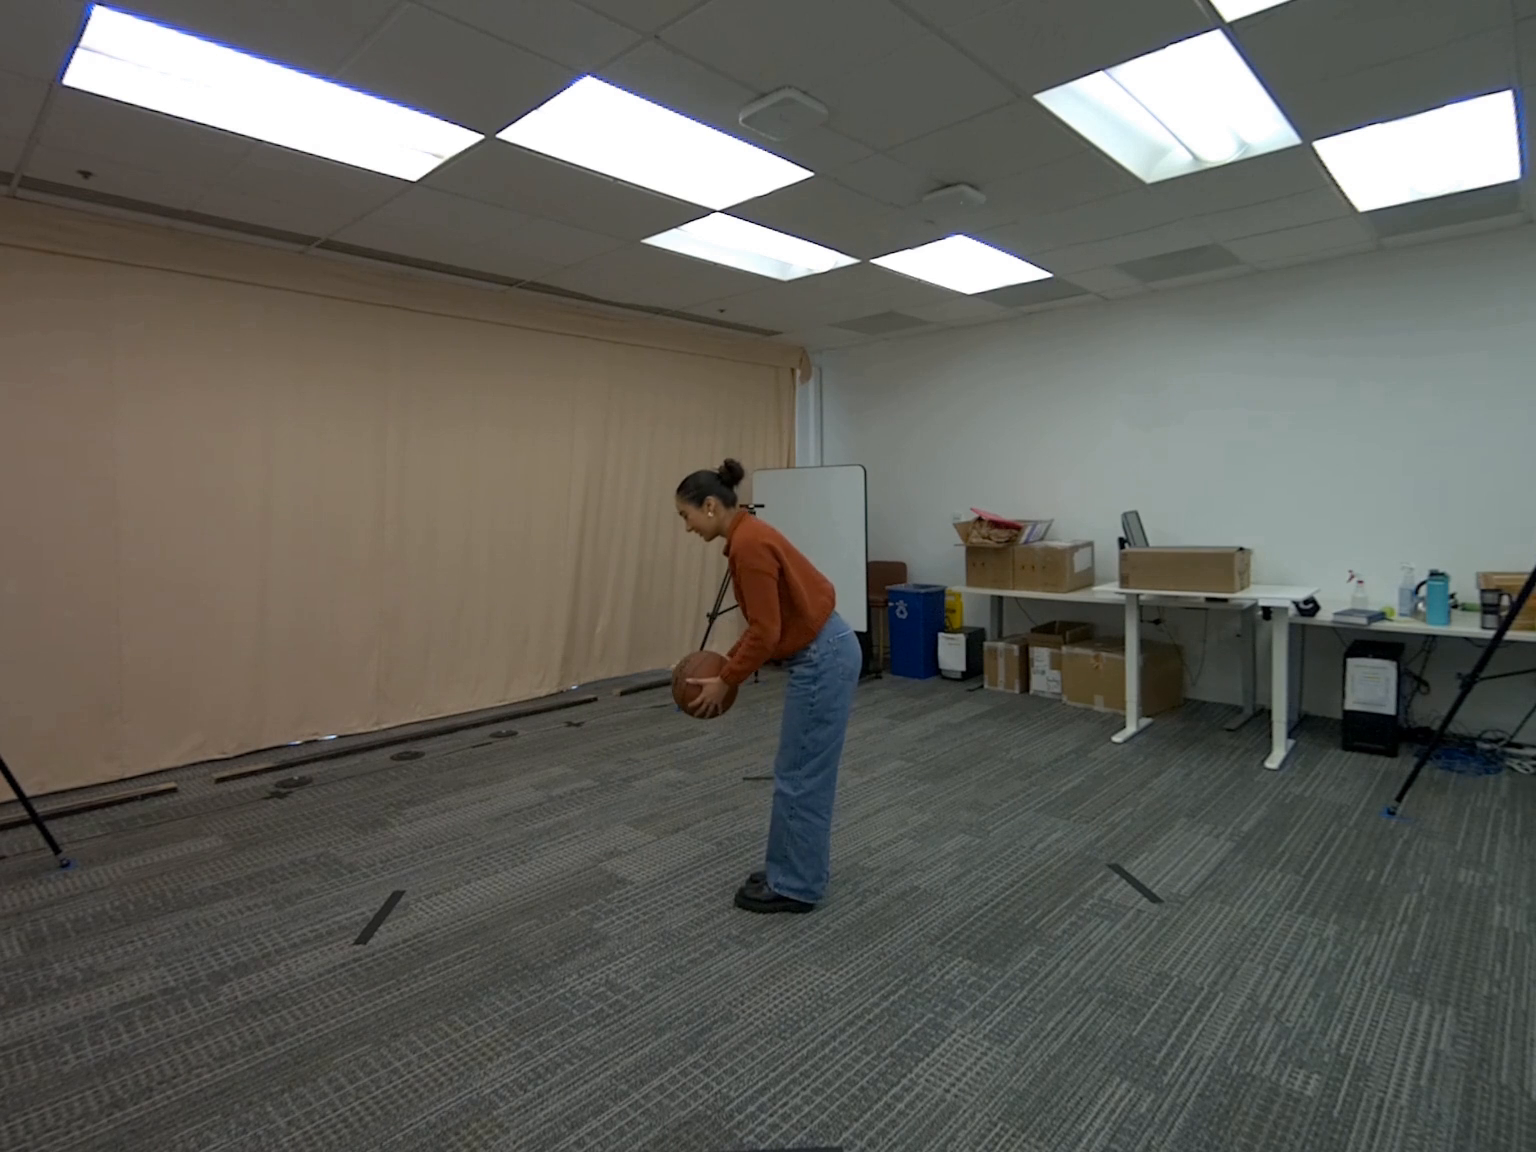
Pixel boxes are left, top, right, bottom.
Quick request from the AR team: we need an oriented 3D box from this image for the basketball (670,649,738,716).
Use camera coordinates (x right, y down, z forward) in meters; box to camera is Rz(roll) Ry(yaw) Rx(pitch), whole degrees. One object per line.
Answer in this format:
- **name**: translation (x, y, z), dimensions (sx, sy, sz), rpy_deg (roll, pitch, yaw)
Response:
- **basketball**: translation (-0.225, 0.380, 2.941), dimensions (0.236, 0.235, 0.237), rpy_deg (-1, 4, -2)
